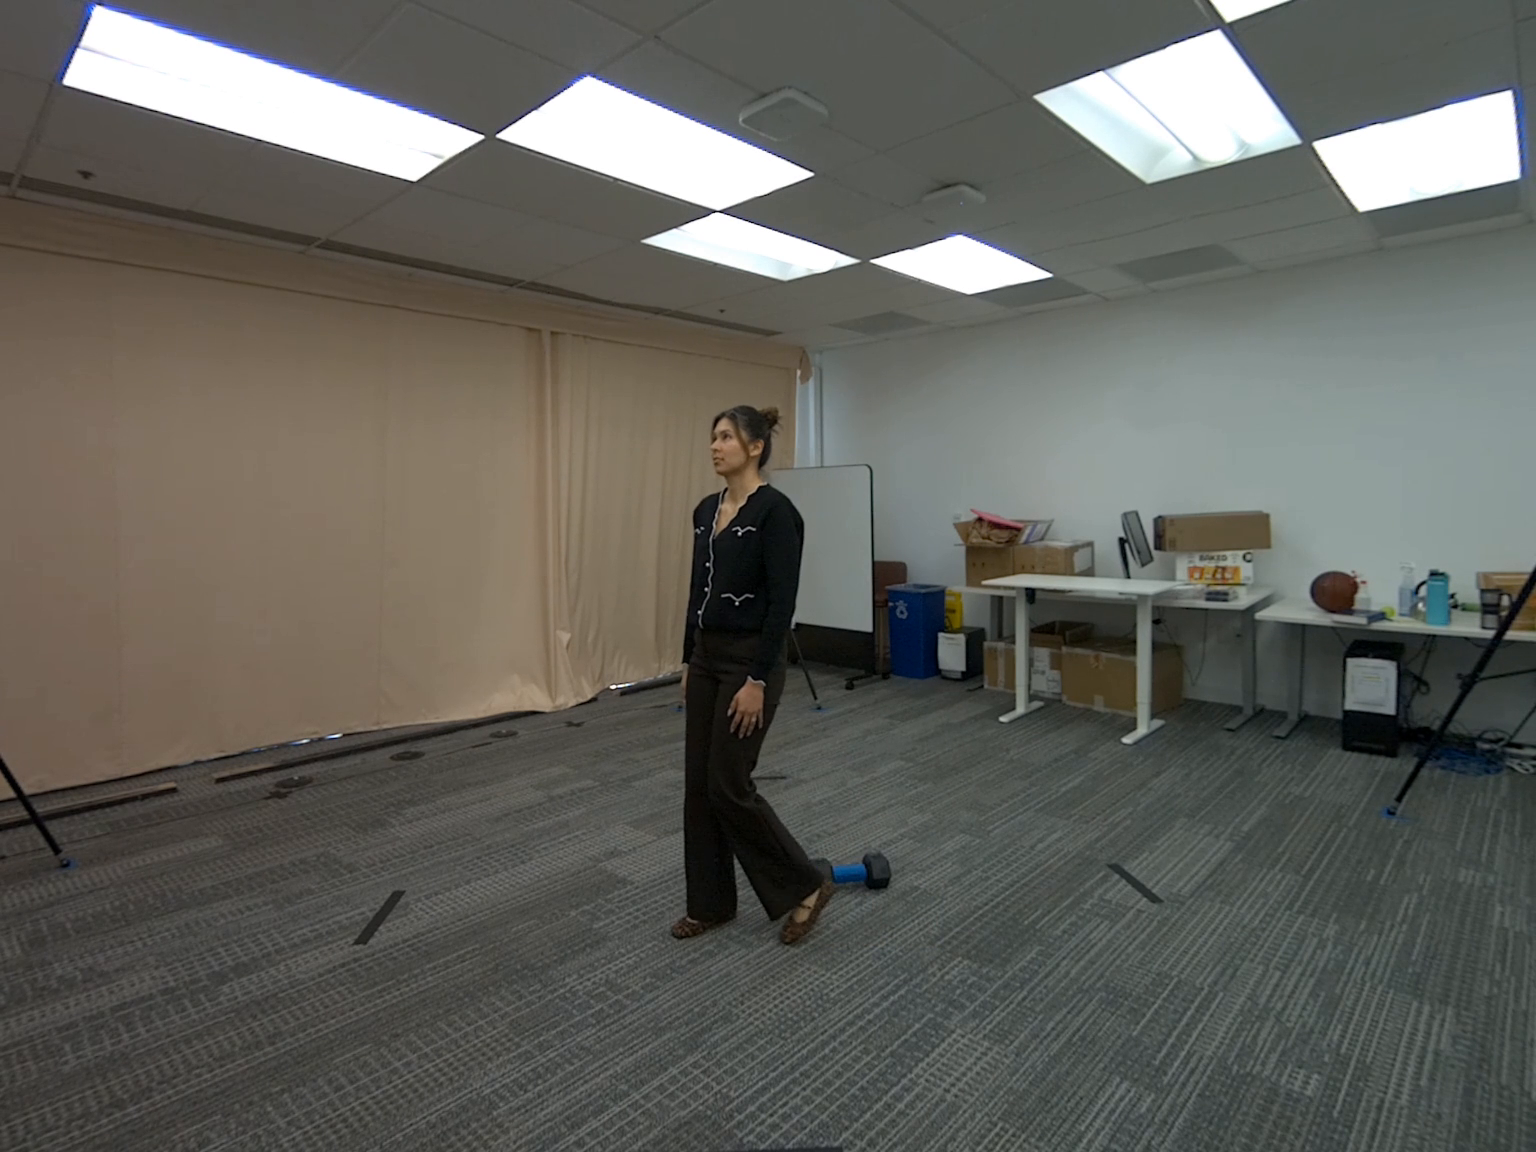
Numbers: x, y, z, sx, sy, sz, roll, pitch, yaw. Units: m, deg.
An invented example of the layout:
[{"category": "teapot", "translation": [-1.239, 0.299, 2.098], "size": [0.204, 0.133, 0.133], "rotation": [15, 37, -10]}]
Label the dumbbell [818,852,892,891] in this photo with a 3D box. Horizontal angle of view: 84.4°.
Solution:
[{"category": "dumbbell", "translation": [0.295, 1.078, 3.042], "size": [0.291, 0.125, 0.108], "rotation": [-2, -26, -9]}]
